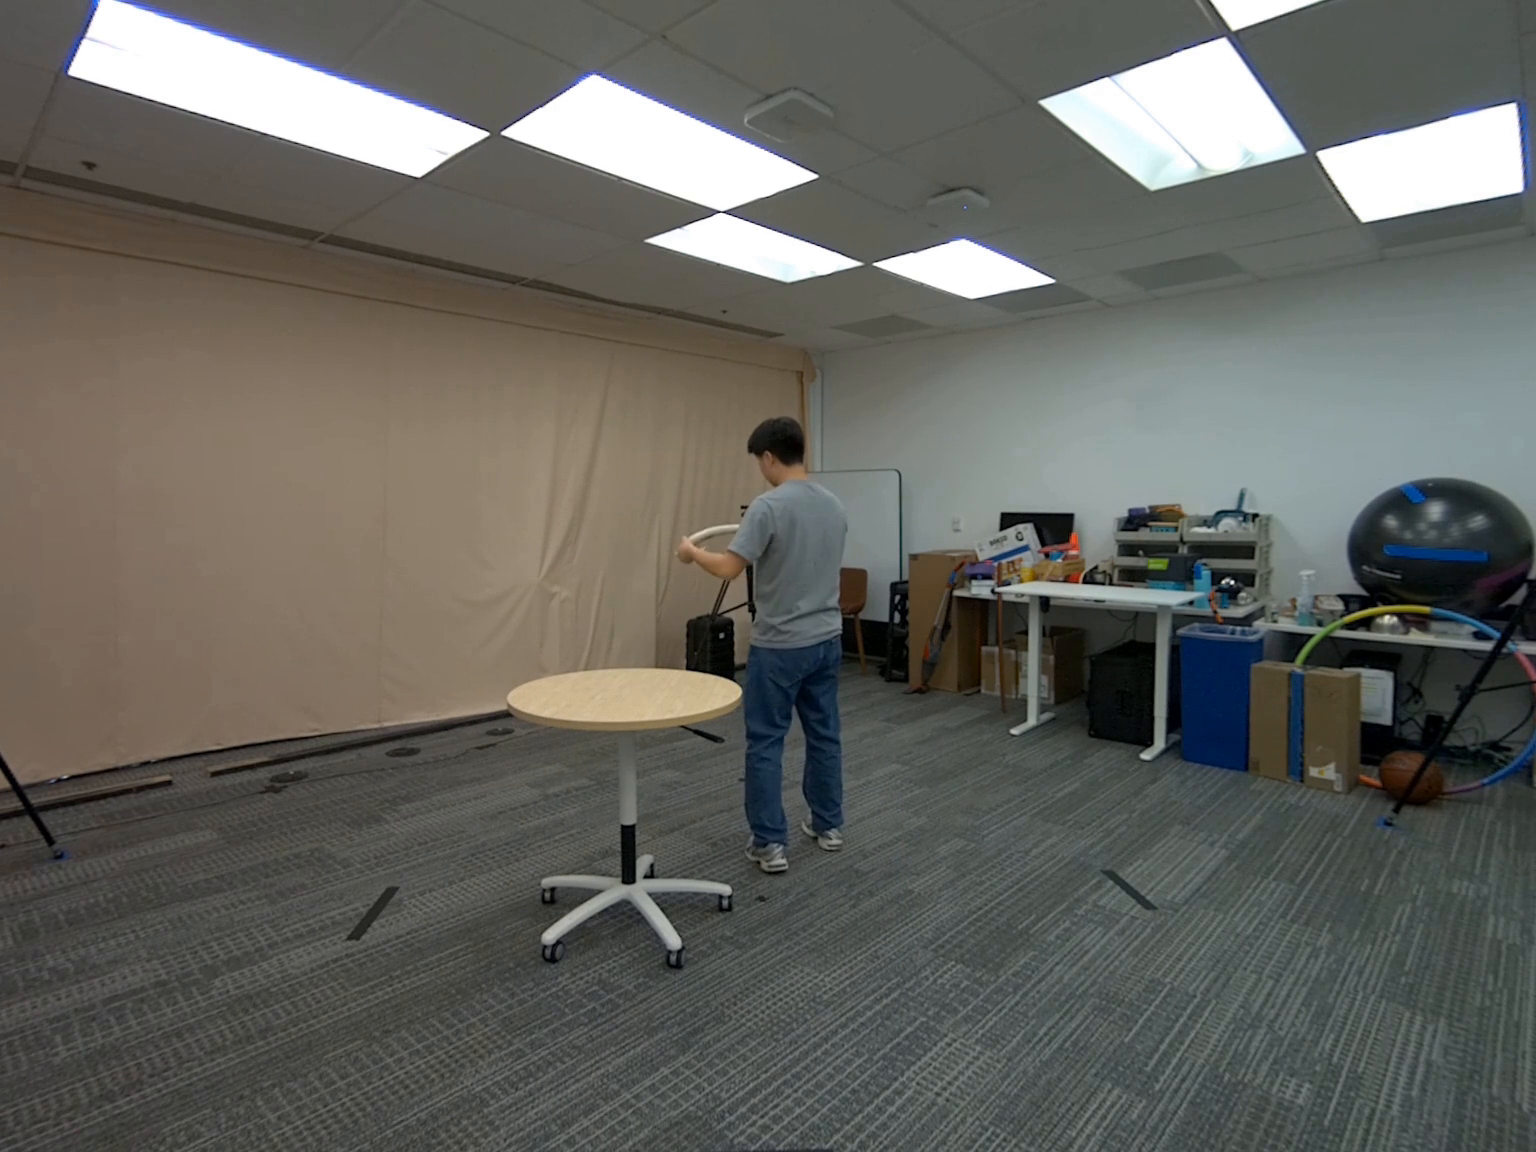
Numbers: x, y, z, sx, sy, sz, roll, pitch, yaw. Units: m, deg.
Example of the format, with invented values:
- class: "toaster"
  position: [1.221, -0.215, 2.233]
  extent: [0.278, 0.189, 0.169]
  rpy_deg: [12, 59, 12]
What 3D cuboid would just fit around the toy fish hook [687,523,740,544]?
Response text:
- class: "toy fish hook"
  position: [-0.172, -0.169, 3.674]
  extent: [0.494, 0.049, 0.228]
  rpy_deg: [-18, -9, -37]
